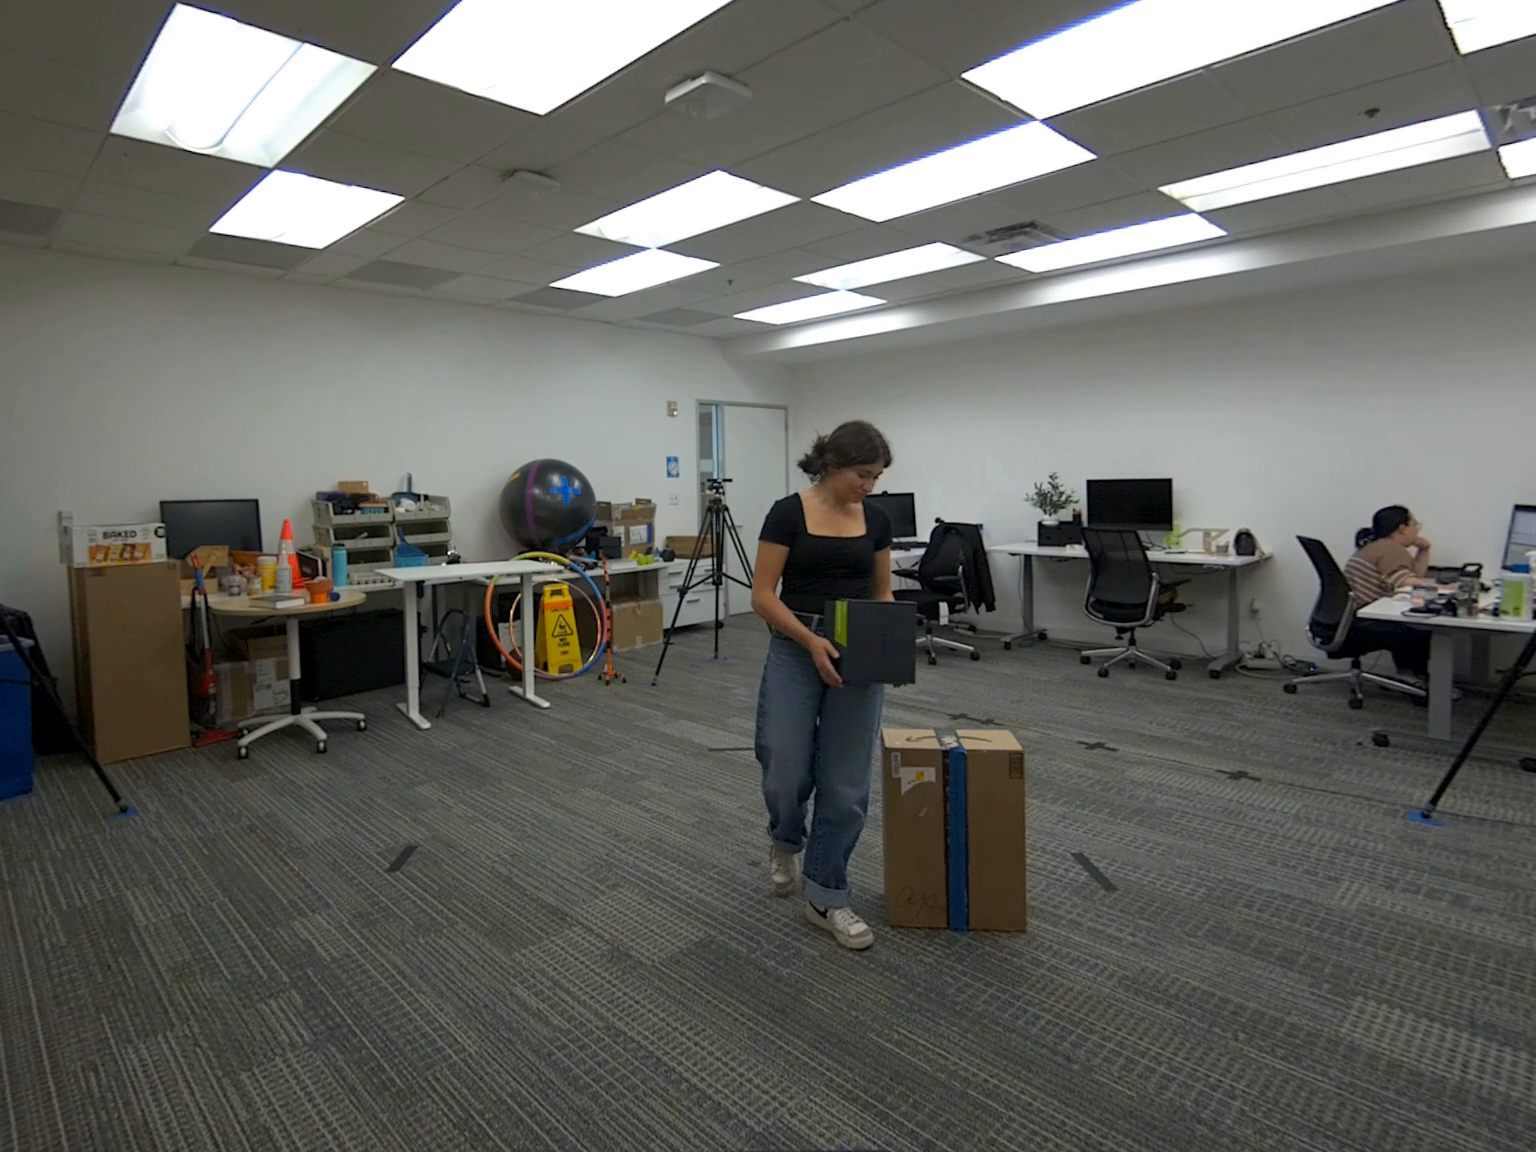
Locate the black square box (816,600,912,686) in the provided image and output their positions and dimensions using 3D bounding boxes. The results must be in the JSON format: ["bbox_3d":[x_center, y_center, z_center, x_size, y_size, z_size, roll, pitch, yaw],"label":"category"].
[{"bbox_3d":[0.270,0.187,2.450,0.212,0.228,0.159,4,-3,-22],"label":"black square box"}]
